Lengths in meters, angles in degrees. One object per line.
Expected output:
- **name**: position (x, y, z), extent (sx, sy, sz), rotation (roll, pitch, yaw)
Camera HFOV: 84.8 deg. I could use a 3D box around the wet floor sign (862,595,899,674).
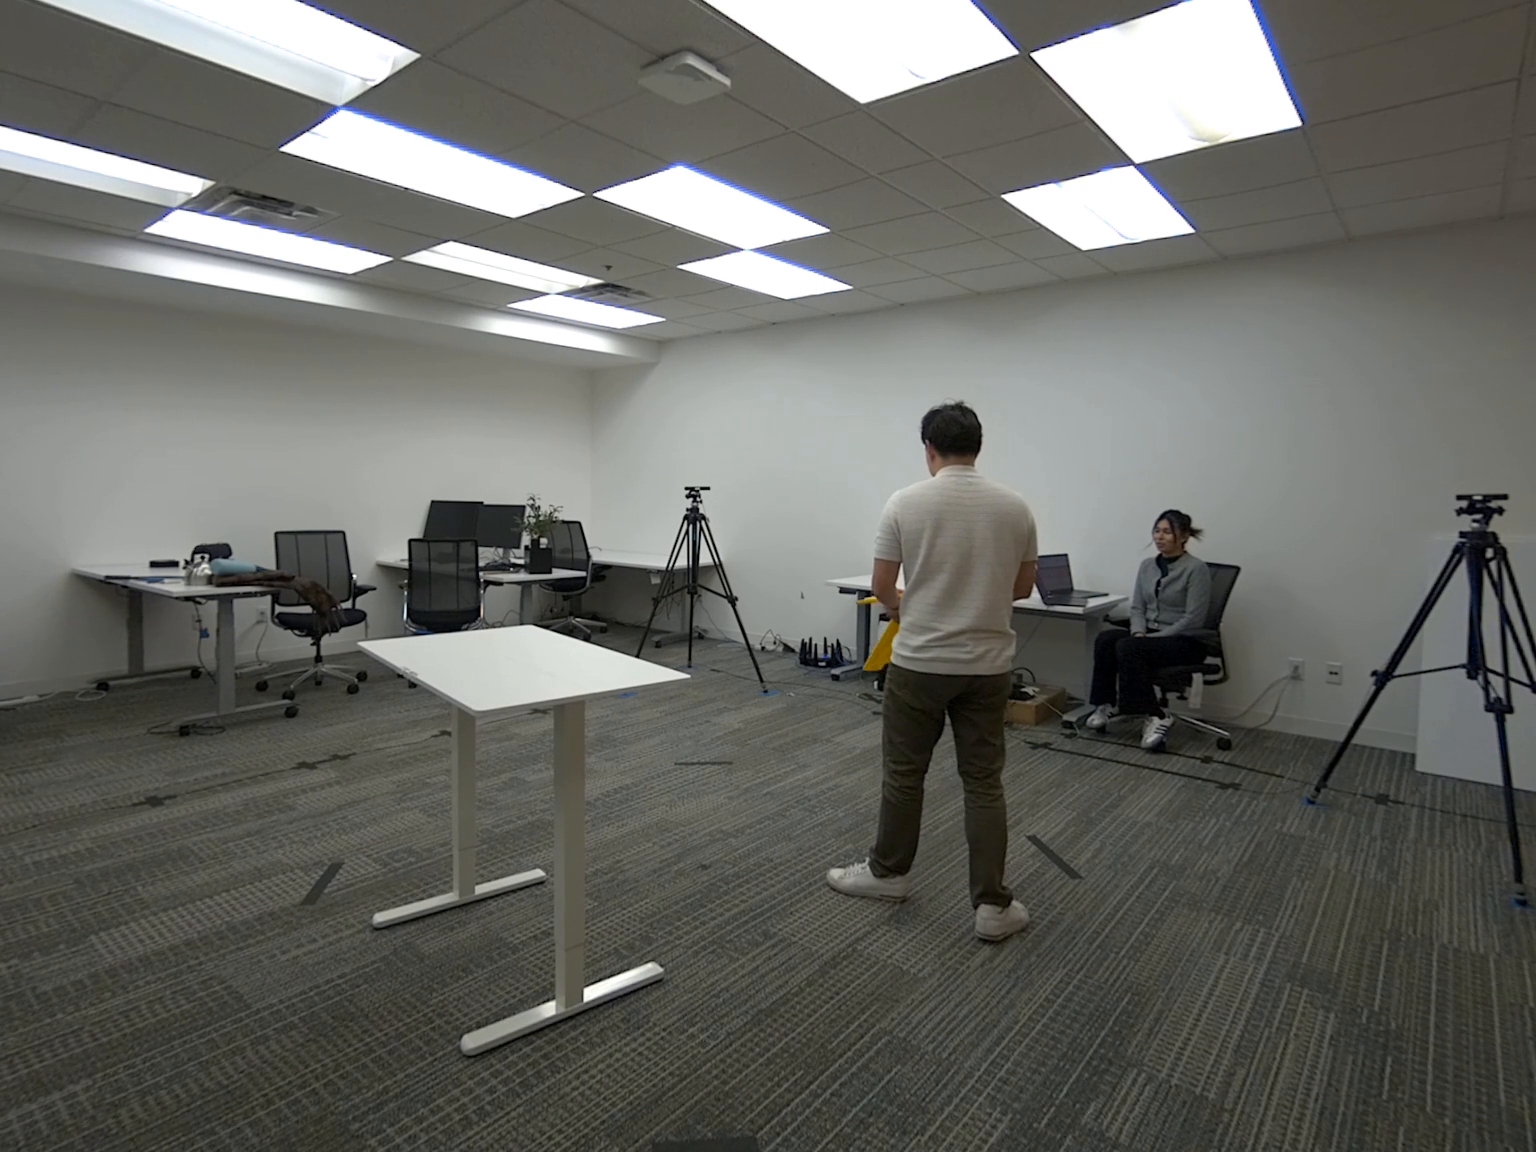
- **wet floor sign**: position (0.505, 0.148, 3.244), extent (0.281, 0.295, 0.638), rotation (-3, -16, -6)
